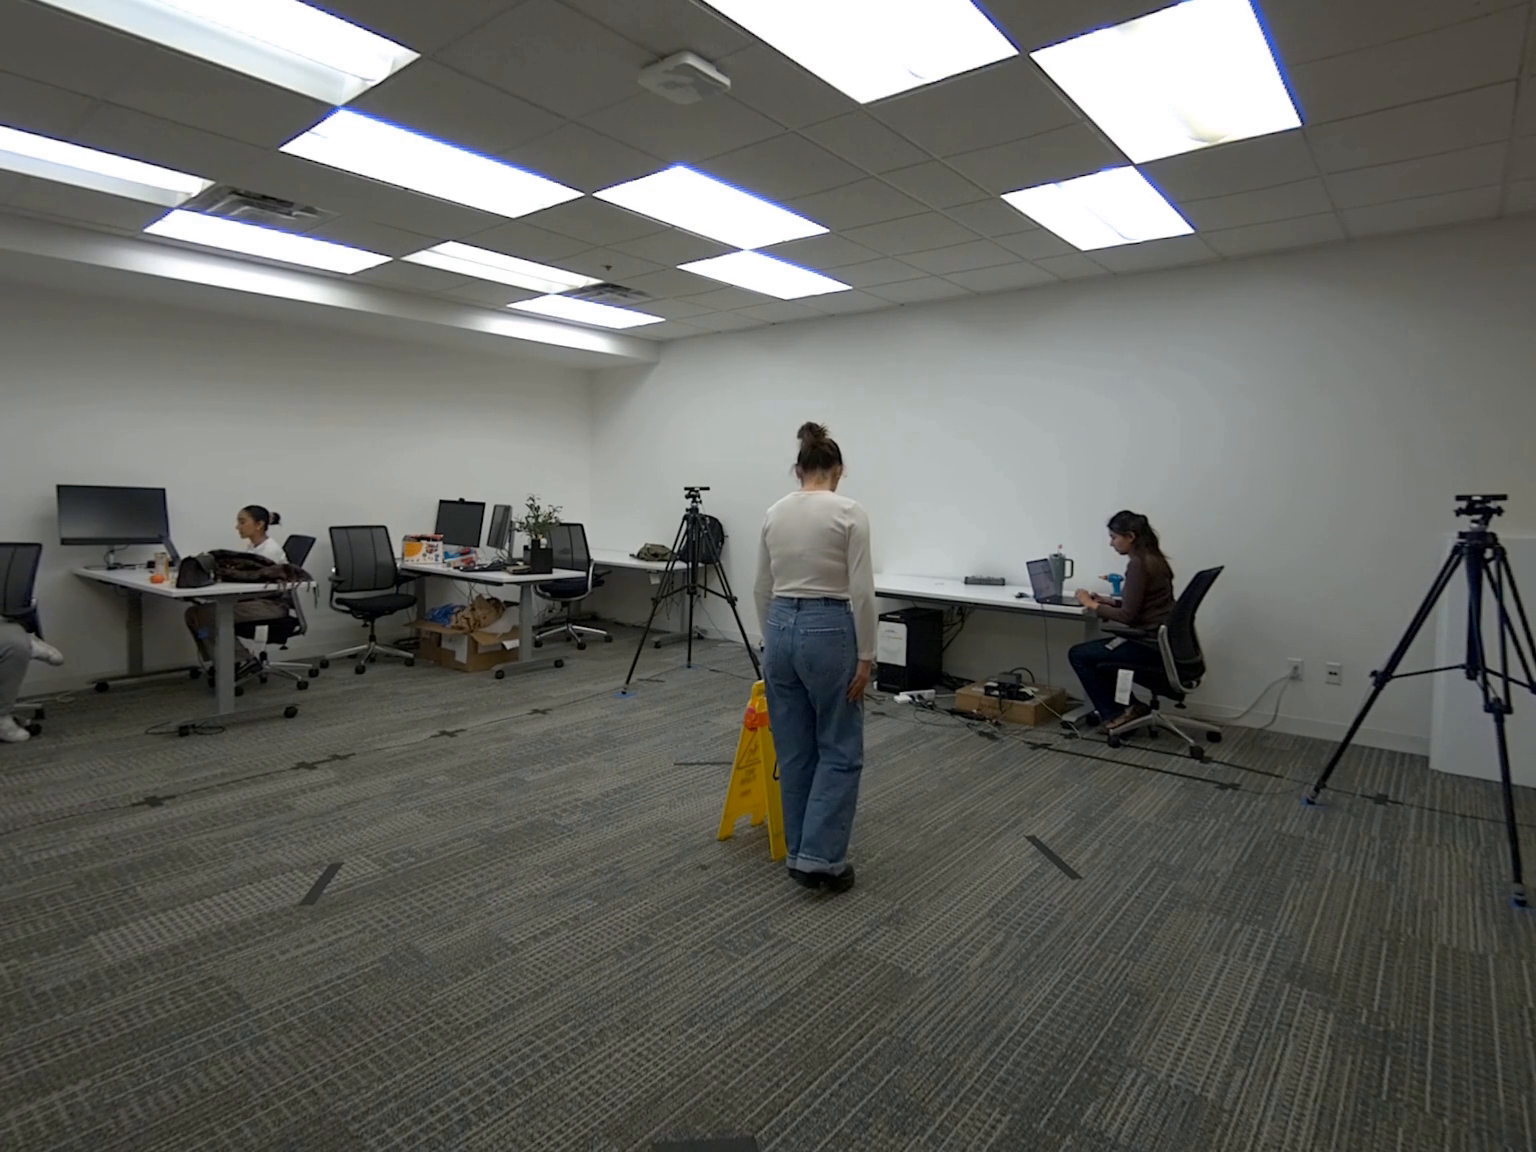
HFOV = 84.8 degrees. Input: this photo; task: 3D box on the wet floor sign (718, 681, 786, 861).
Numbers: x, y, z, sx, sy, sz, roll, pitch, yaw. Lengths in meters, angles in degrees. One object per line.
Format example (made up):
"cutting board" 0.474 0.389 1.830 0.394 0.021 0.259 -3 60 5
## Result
"wet floor sign" -0.001 0.721 3.352 0.299 0.644 0.274 4 4 40
